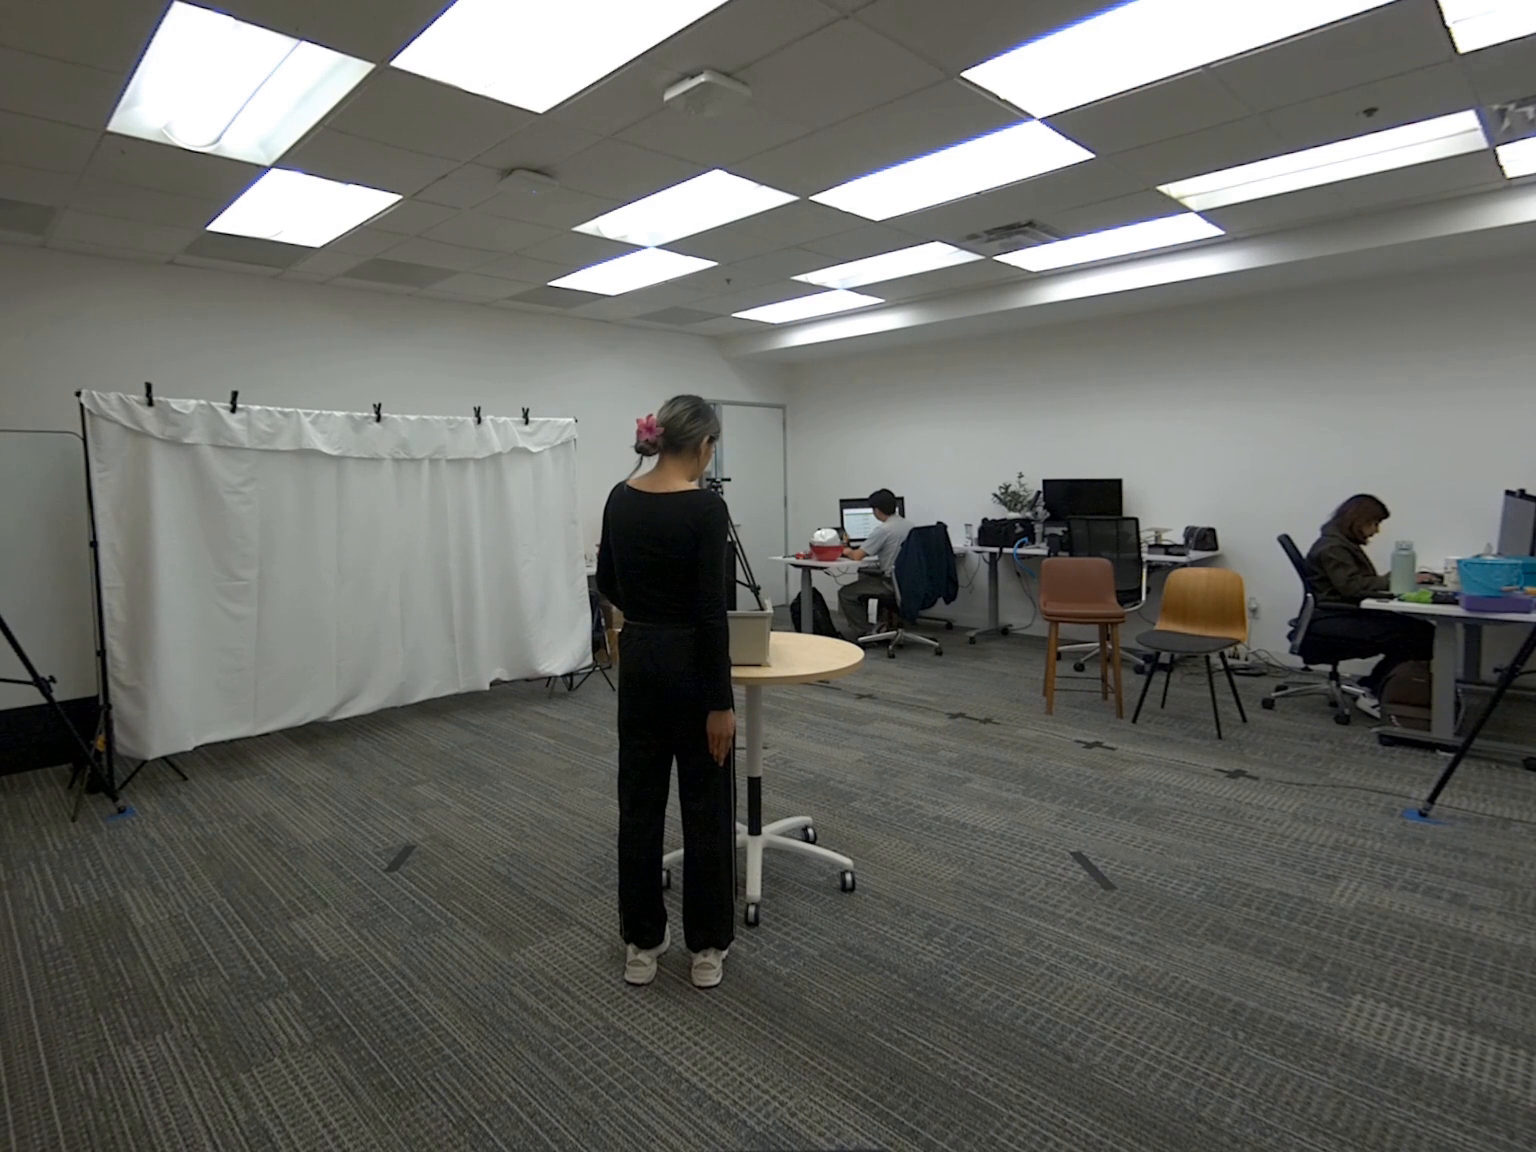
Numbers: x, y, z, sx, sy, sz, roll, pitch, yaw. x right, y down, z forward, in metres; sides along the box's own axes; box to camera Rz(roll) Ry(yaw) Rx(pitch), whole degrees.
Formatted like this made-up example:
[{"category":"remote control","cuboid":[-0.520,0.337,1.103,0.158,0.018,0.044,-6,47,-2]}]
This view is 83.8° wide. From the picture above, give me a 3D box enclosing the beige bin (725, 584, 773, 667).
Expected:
[{"category":"beige bin","cuboid":[-0.200,0.181,2.918,0.422,0.188,0.380,-1,7,-1]}]
